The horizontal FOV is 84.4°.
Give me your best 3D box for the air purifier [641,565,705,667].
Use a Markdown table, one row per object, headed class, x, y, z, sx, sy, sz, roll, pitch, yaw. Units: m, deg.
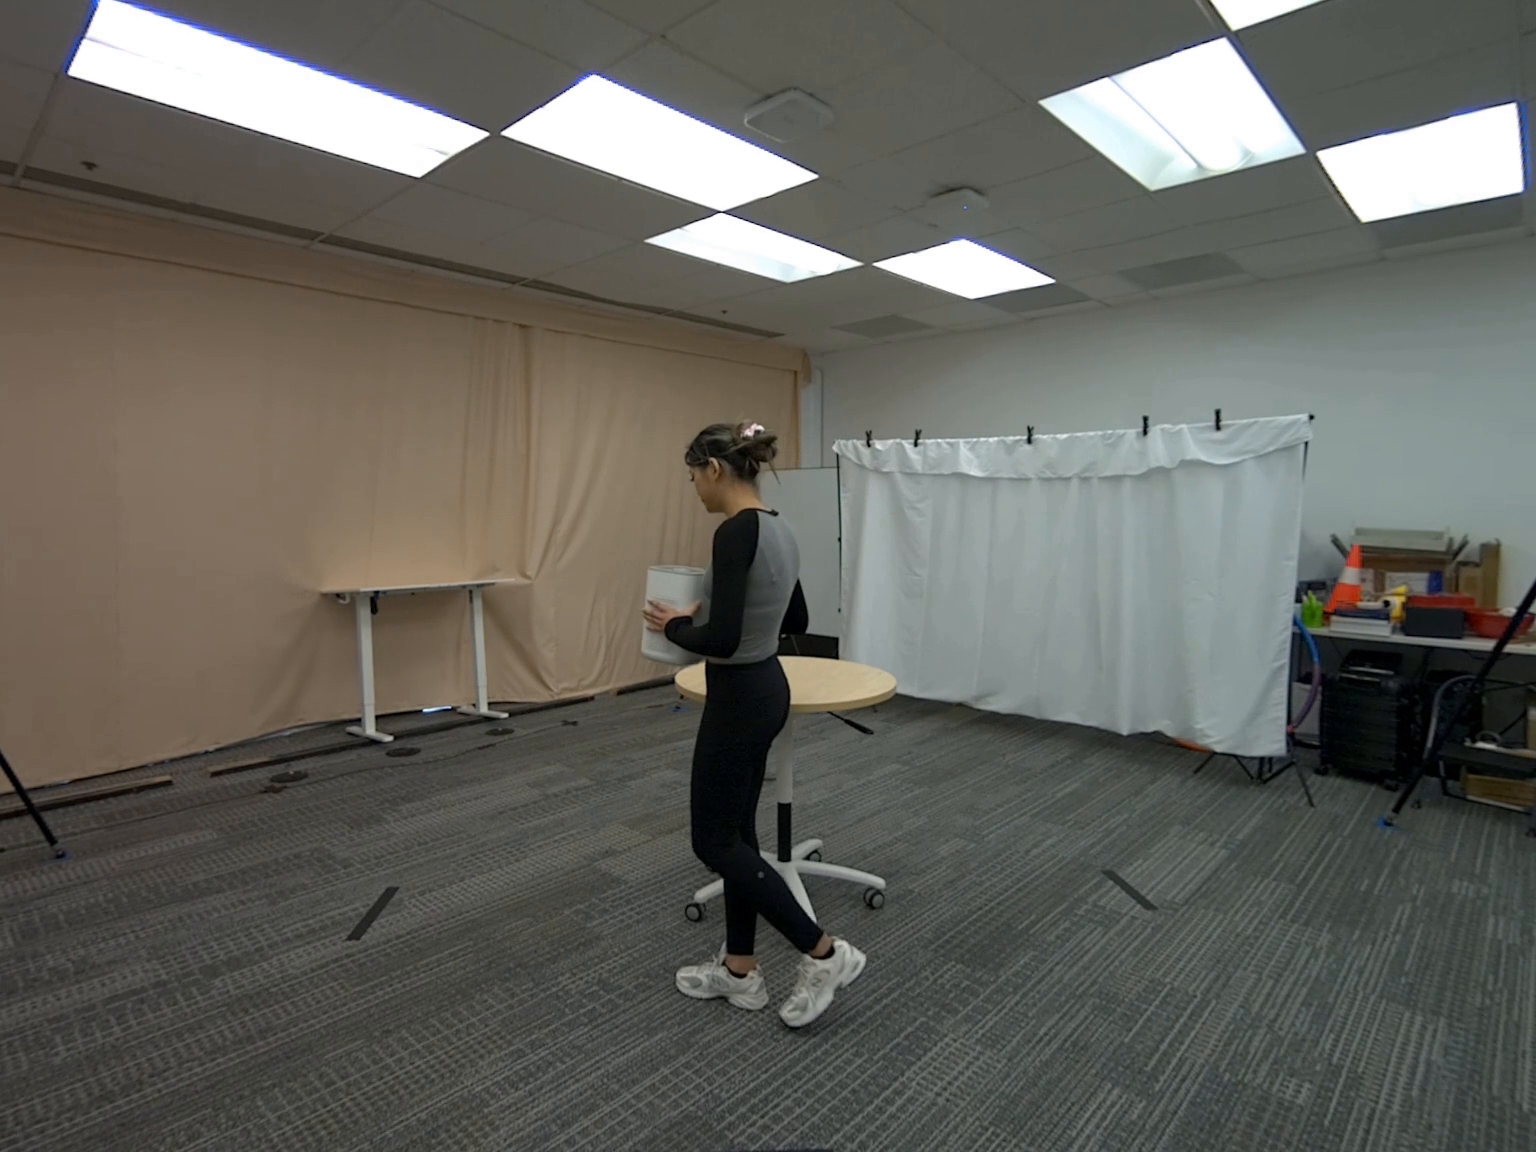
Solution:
| class | x | y | z | sx | sy | sz | roll | pitch | yaw |
| --- | --- | --- | --- | --- | --- | --- | --- | --- | --- |
| air purifier | -0.250 | 0.113 | 2.431 | 0.176 | 0.264 | 0.167 | 8 | 7 | 25 |
